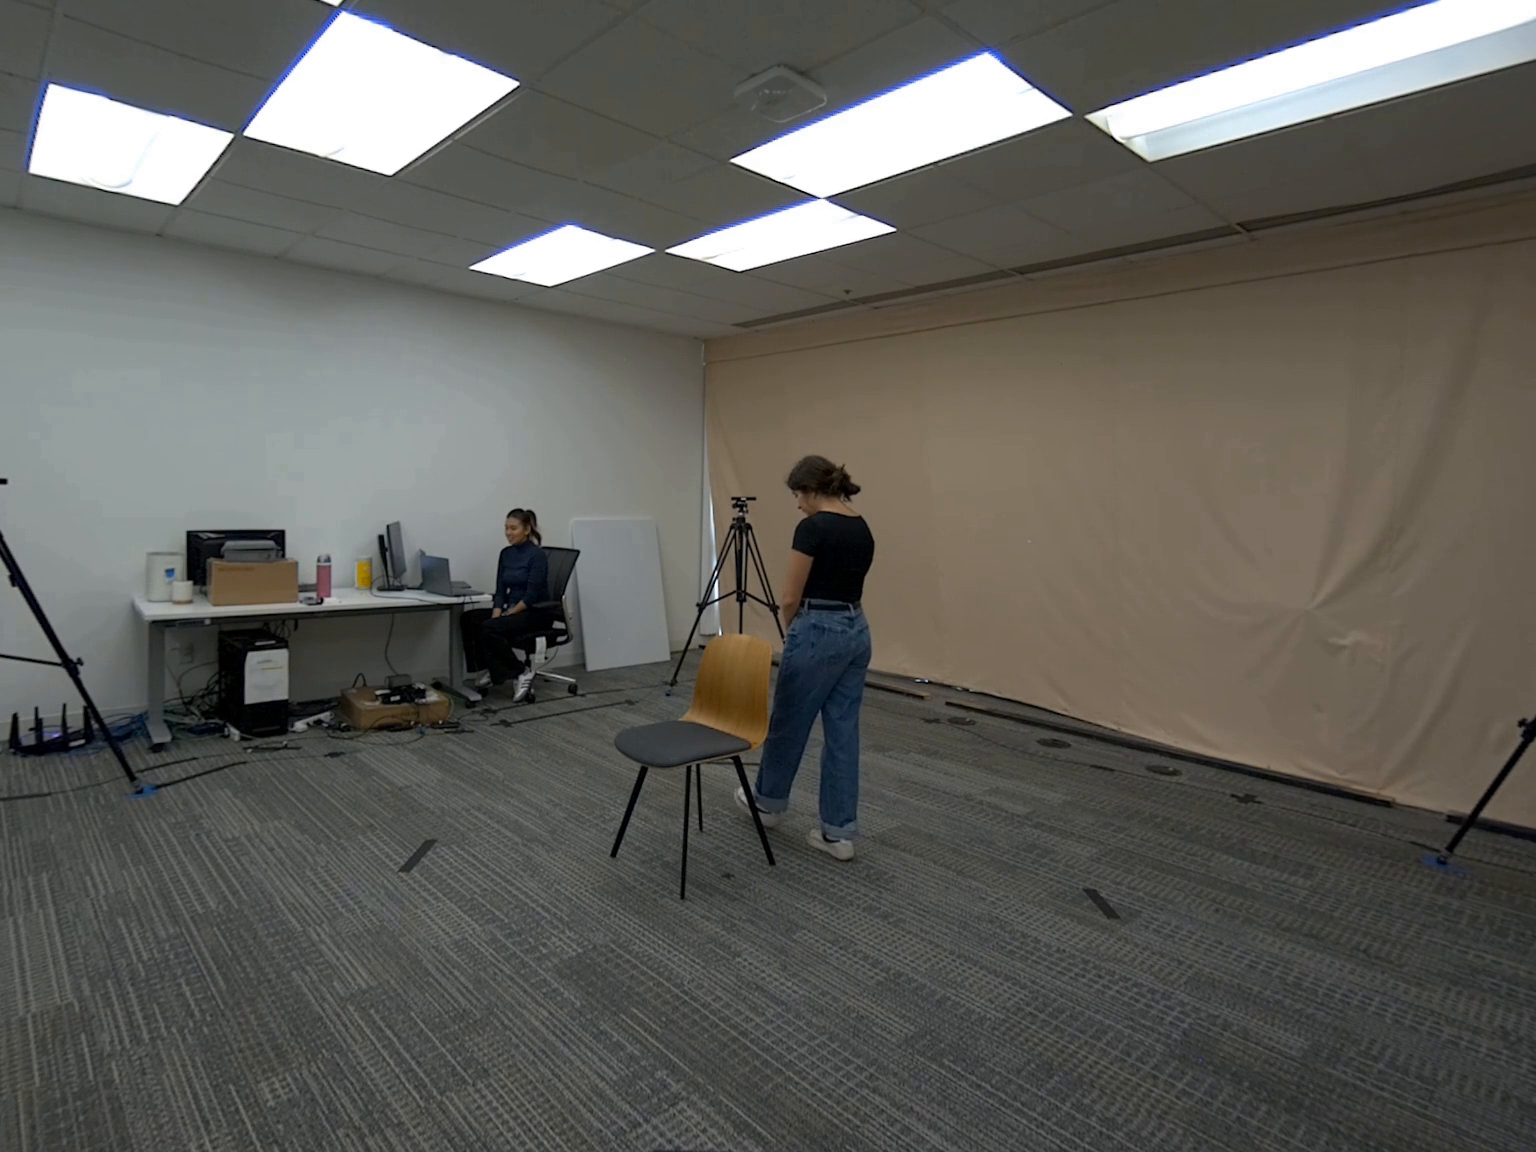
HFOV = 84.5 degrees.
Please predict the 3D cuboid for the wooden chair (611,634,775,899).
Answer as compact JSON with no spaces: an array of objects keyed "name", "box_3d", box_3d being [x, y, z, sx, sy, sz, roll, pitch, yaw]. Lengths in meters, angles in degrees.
[{"name":"wooden chair","box_3d":[-0.288,0.671,3.185,0.510,0.877,0.490,4,0,-43]}]
